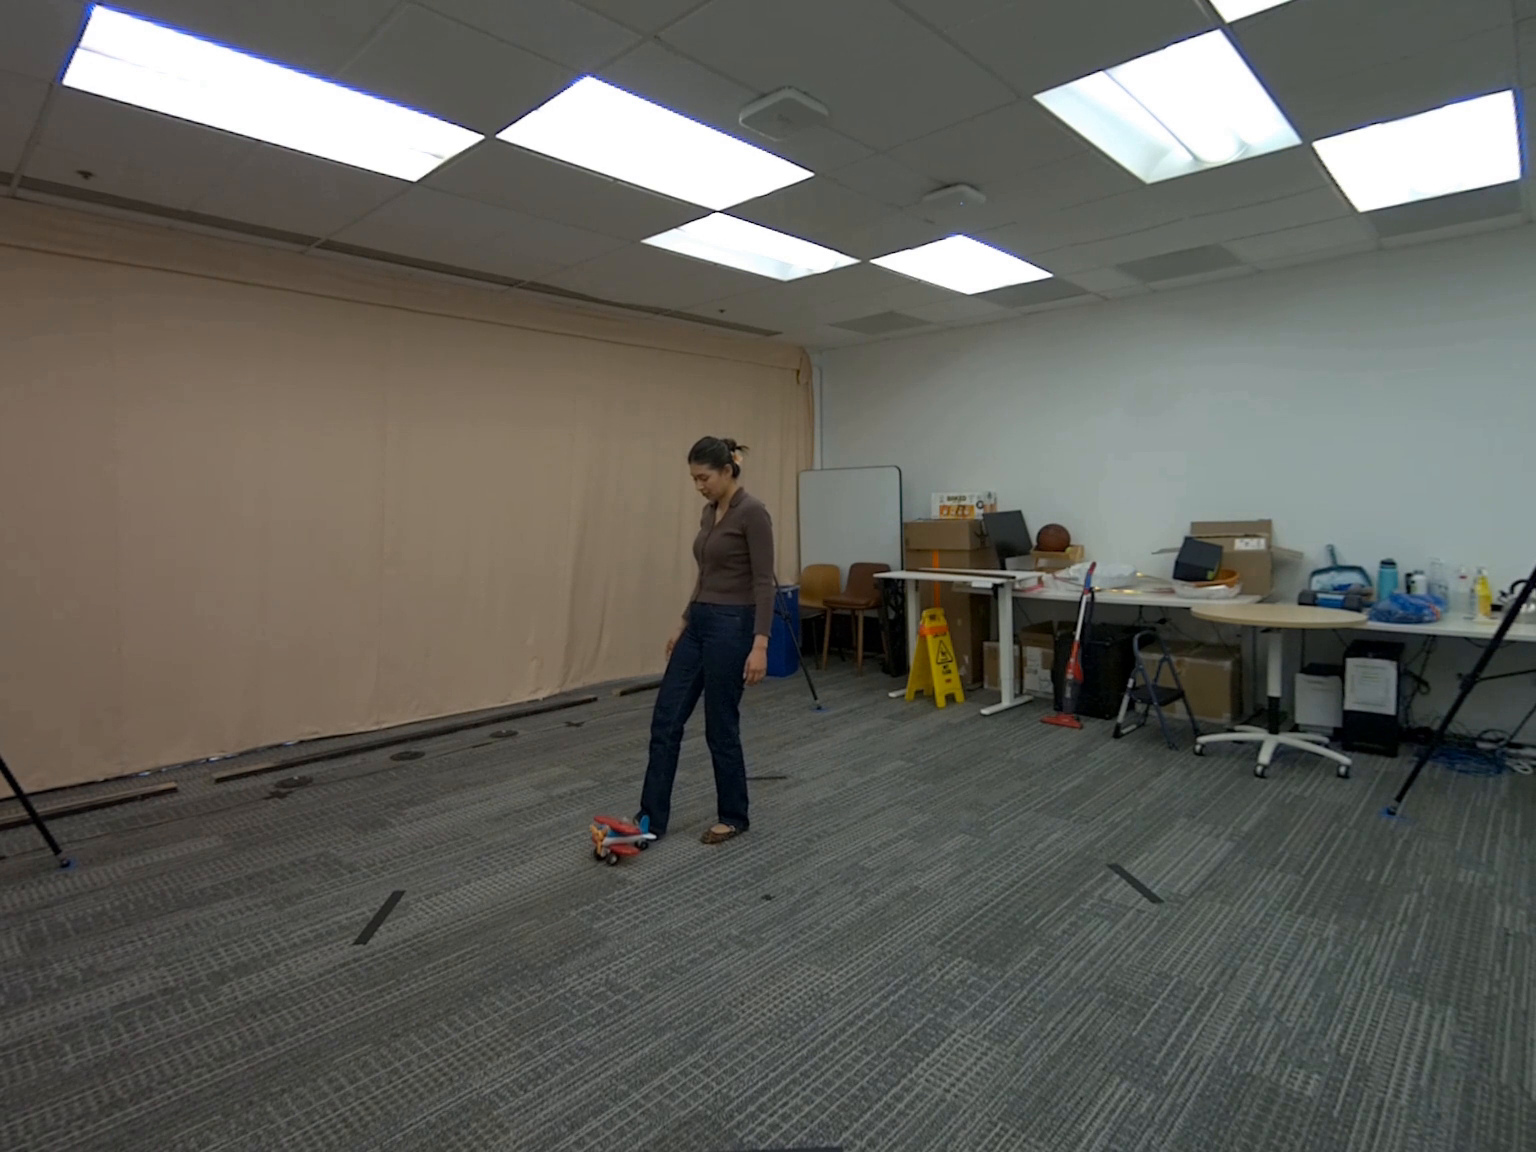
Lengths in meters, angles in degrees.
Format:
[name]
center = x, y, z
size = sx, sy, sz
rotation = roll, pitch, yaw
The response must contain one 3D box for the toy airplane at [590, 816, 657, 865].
[toy airplane]
center = -0.597, 1.045, 3.376
size = 0.256, 0.156, 0.255
rotation = -1, 6, 17
